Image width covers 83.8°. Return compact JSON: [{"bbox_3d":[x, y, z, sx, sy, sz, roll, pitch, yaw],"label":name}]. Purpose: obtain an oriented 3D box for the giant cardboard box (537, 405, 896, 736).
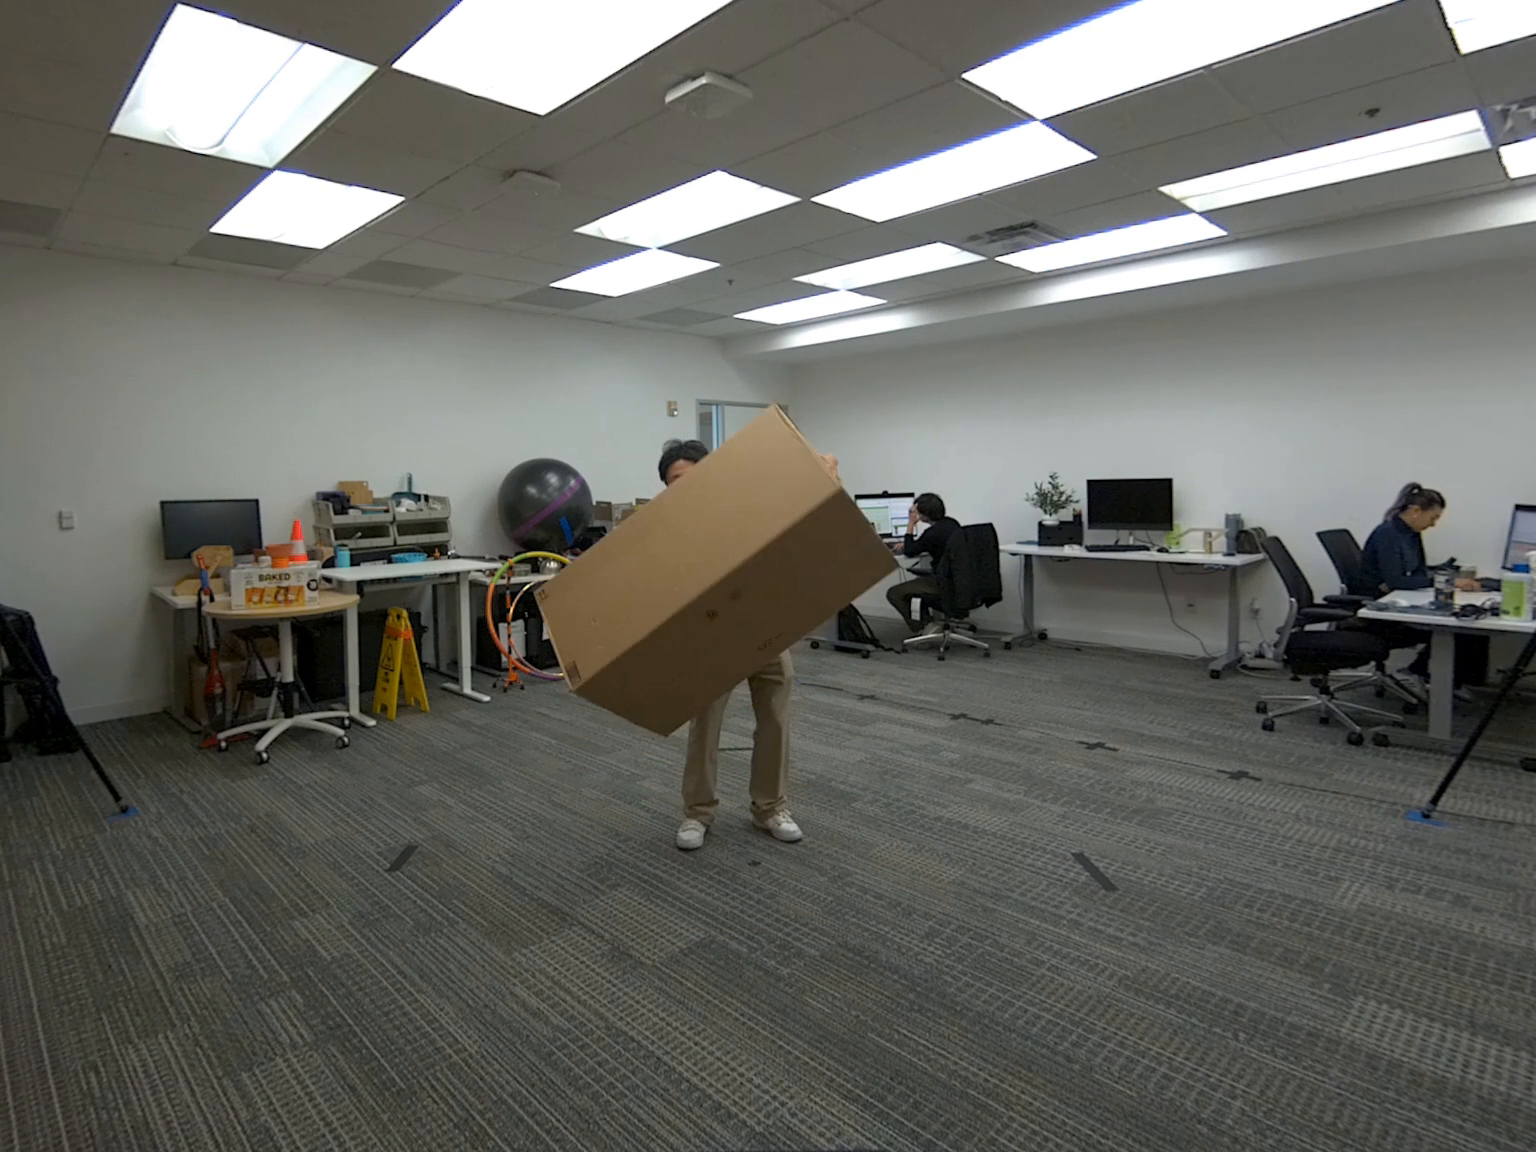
[{"bbox_3d":[-0.167,0.010,2.843,1.027,0.442,0.555,-37,-36,8],"label":"giant cardboard box"}]
